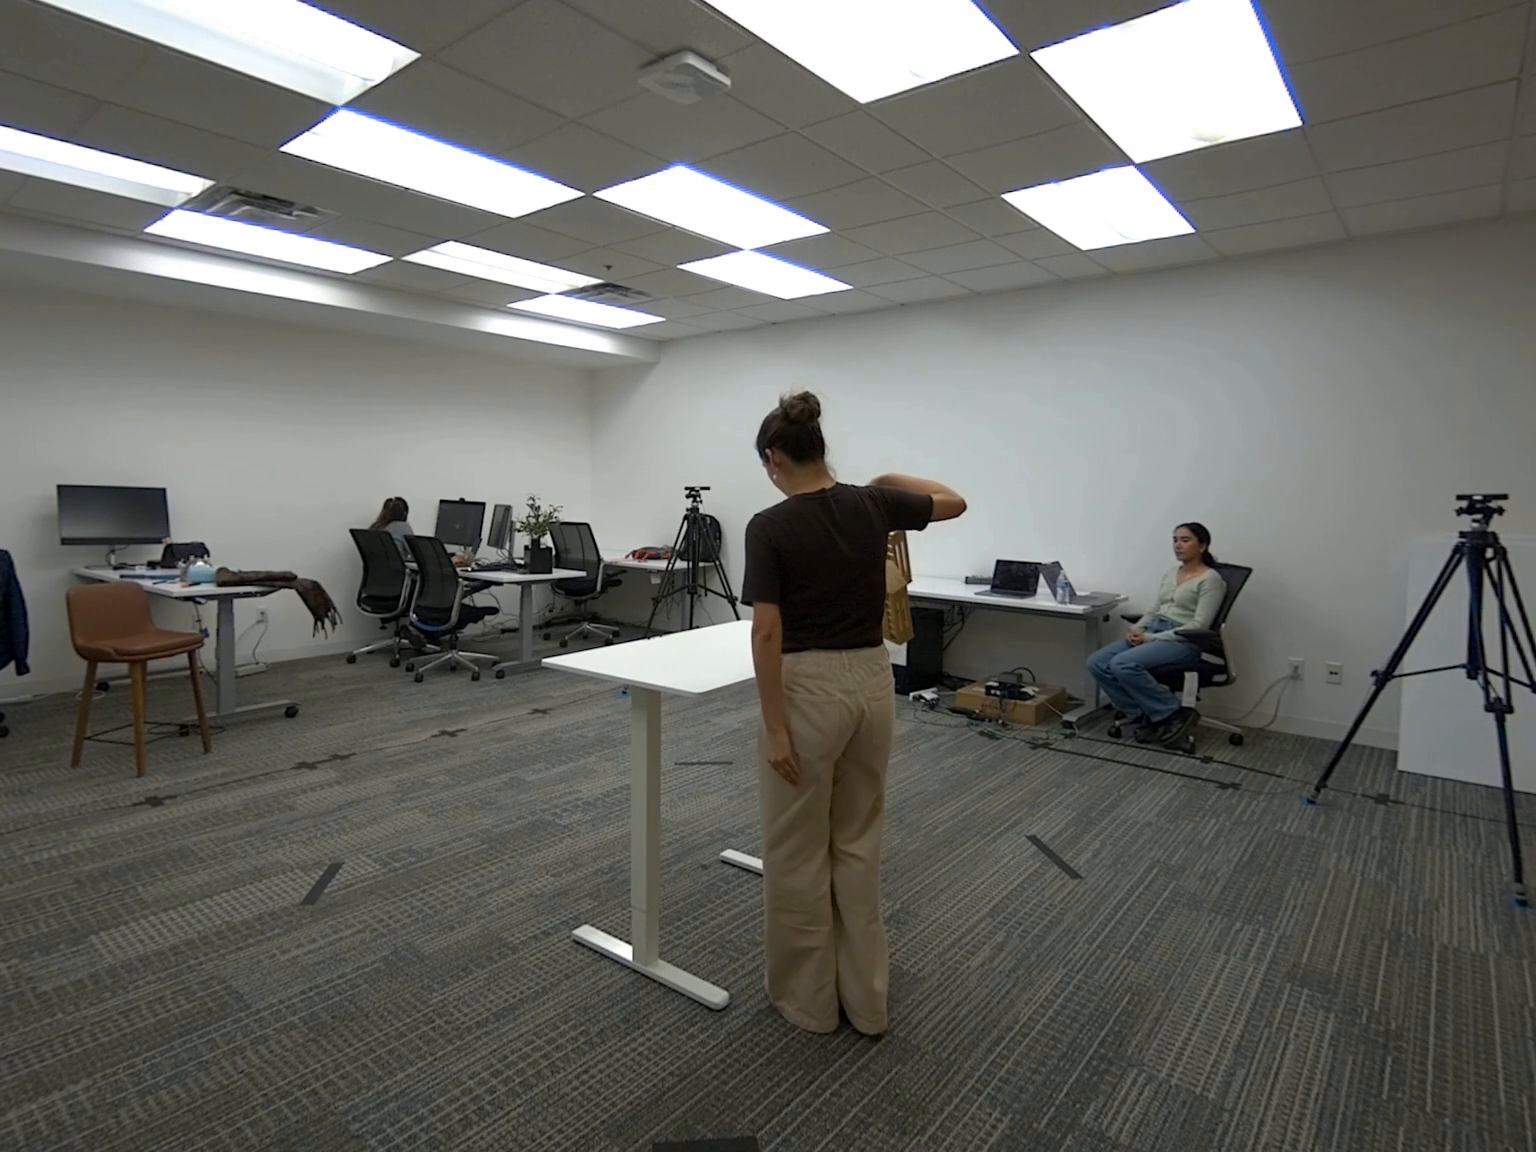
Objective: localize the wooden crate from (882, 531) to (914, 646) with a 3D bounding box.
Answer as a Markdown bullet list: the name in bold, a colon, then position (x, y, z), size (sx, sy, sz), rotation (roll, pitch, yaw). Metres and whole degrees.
- **wooden crate**: position (0.322, -0.020, 2.538), size (0.312, 0.274, 0.312), rotation (22, -25, 28)
